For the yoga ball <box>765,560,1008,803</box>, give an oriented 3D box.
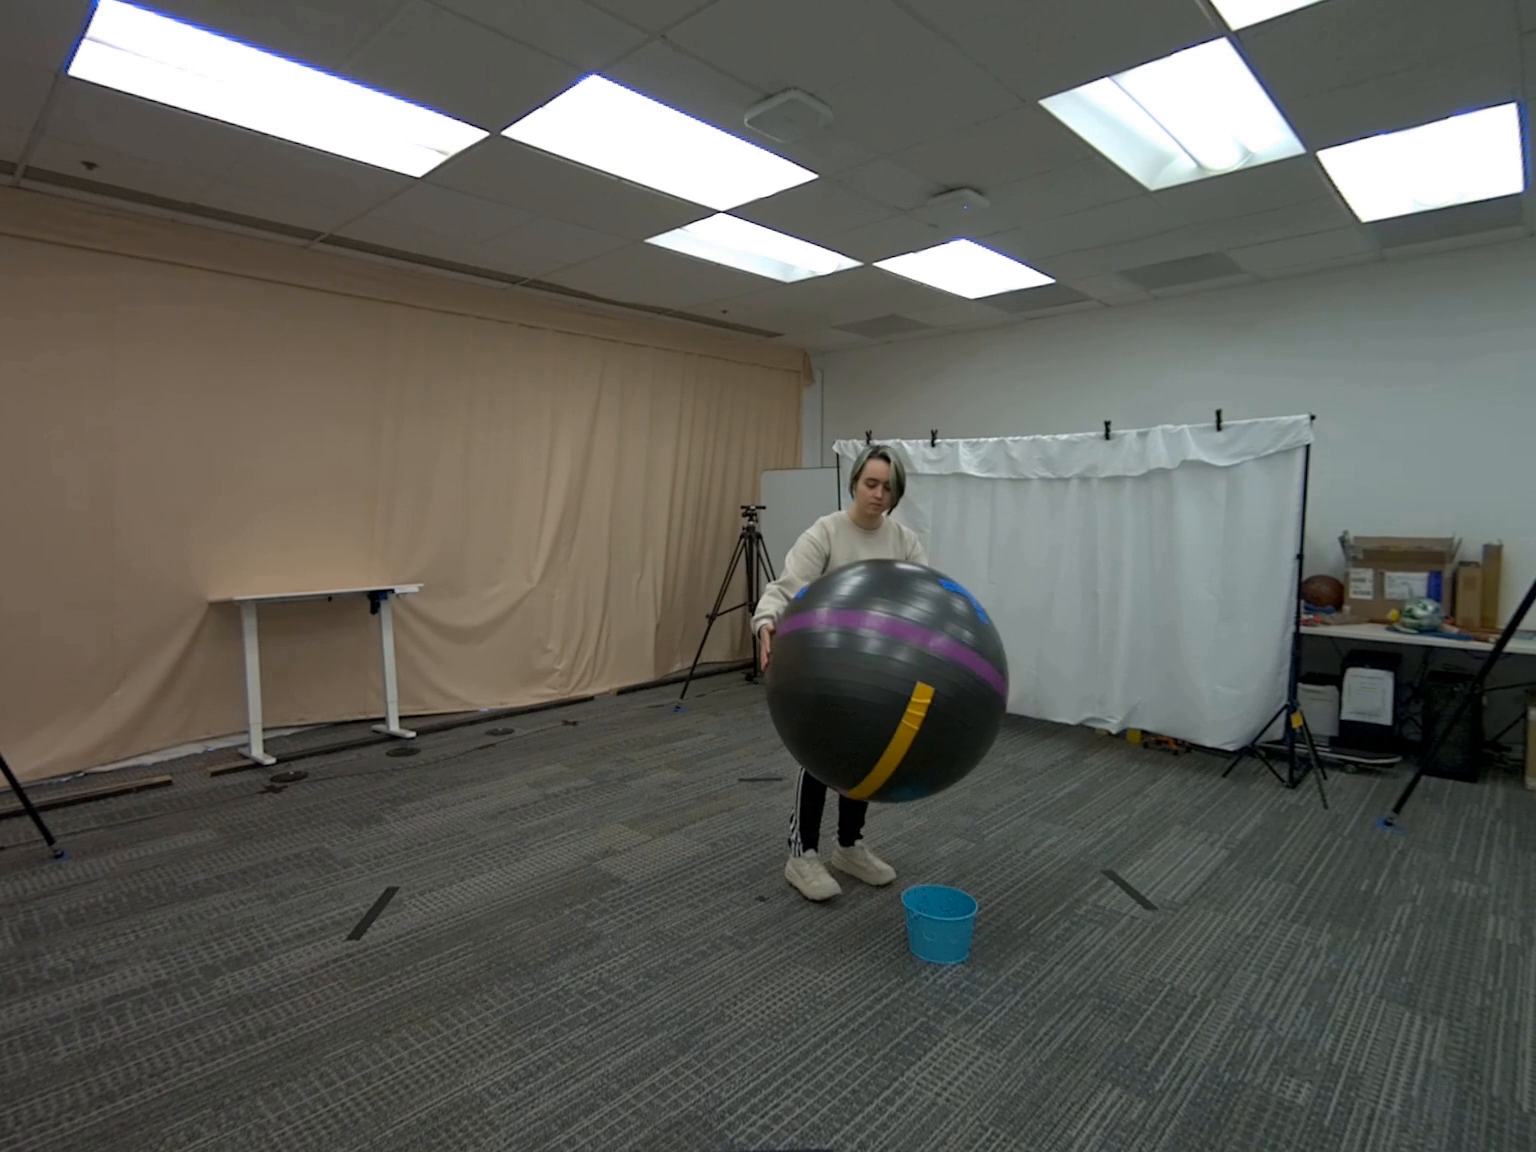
[{"bbox_3d":[0.366,0.335,2.660,0.757,0.756,0.760,0,4,-2],"label":"yoga ball"}]
